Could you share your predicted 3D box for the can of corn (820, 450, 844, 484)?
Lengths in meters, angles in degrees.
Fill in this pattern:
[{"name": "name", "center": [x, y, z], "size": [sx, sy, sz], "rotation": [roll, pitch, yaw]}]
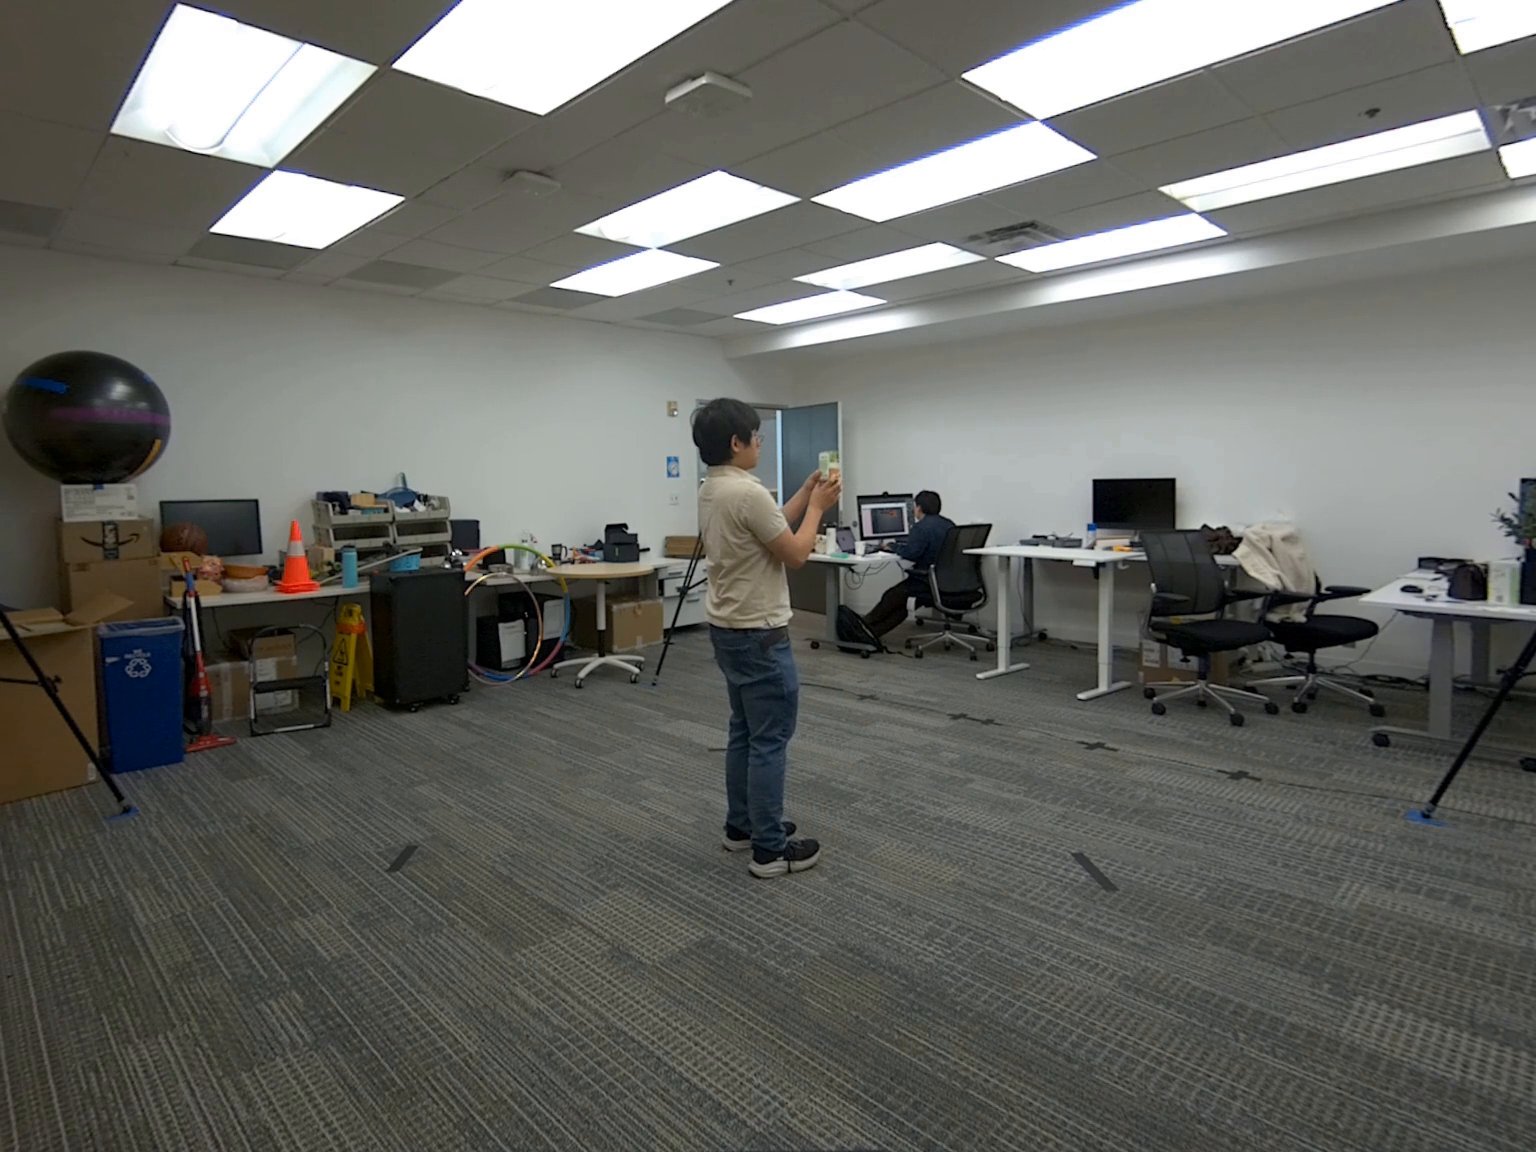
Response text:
[{"name": "can of corn", "center": [0.236, -0.410, 3.197], "size": [0.074, 0.111, 0.074], "rotation": [1, -4, -2]}]
